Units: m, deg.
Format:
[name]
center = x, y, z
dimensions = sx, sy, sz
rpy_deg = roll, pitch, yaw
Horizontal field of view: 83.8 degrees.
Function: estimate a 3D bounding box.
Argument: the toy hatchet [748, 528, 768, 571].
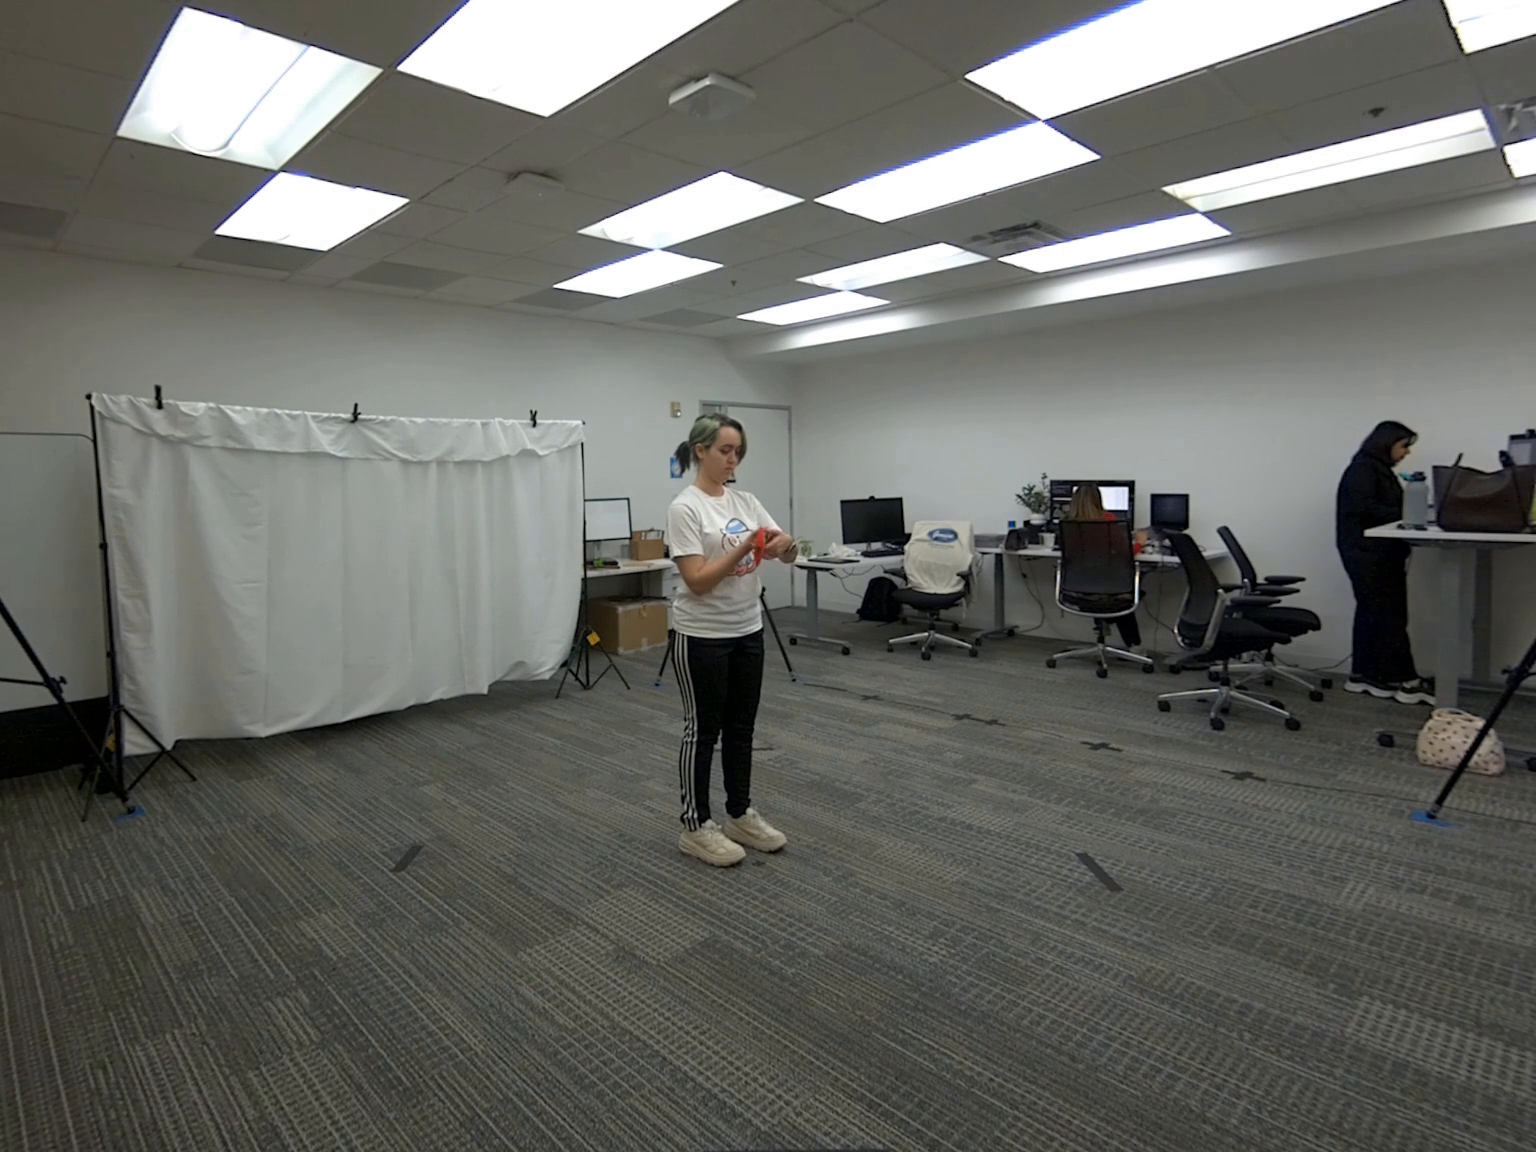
[toy hatchet]
center = -0.004, -0.089, 2.900
dimensions = 0.030, 0.131, 0.265
rpy_deg = 3, -2, 15
